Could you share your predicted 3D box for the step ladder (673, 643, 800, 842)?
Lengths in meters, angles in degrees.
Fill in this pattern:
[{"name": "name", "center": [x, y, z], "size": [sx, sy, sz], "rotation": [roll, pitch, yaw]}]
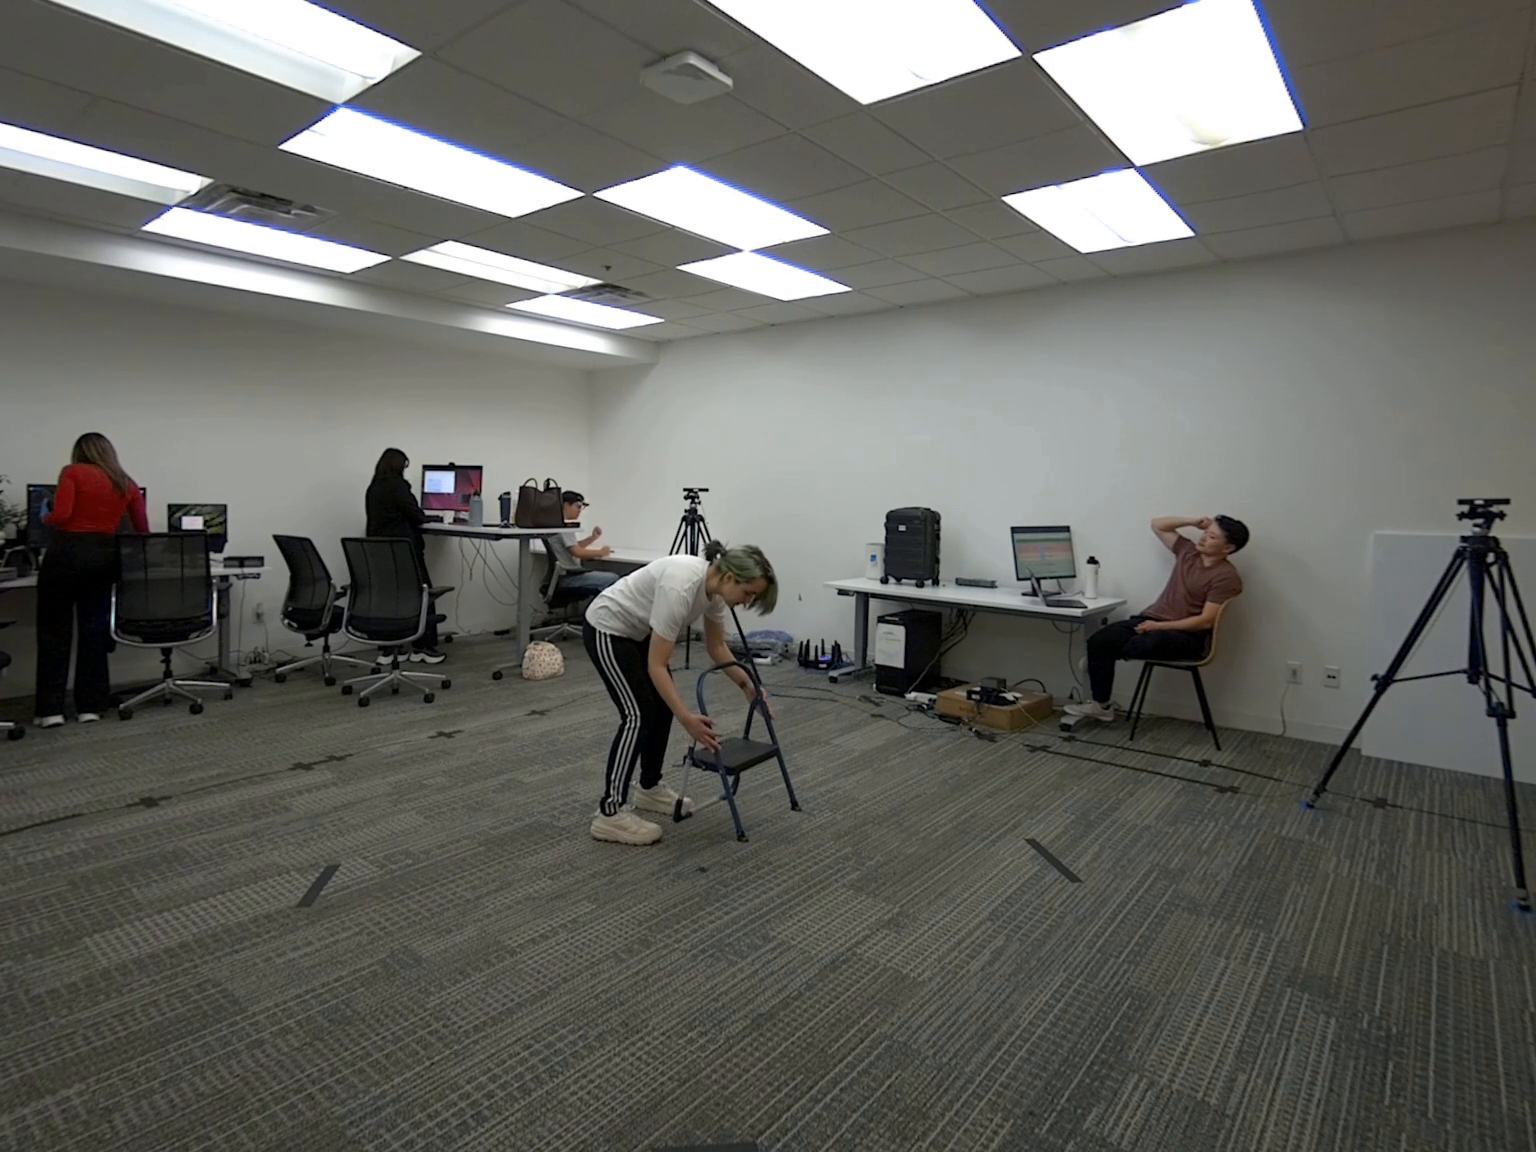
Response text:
[{"name": "step ladder", "center": [-0.131, 0.653, 3.394], "size": [0.360, 0.605, 0.419], "rotation": [1, 3, 33]}]
